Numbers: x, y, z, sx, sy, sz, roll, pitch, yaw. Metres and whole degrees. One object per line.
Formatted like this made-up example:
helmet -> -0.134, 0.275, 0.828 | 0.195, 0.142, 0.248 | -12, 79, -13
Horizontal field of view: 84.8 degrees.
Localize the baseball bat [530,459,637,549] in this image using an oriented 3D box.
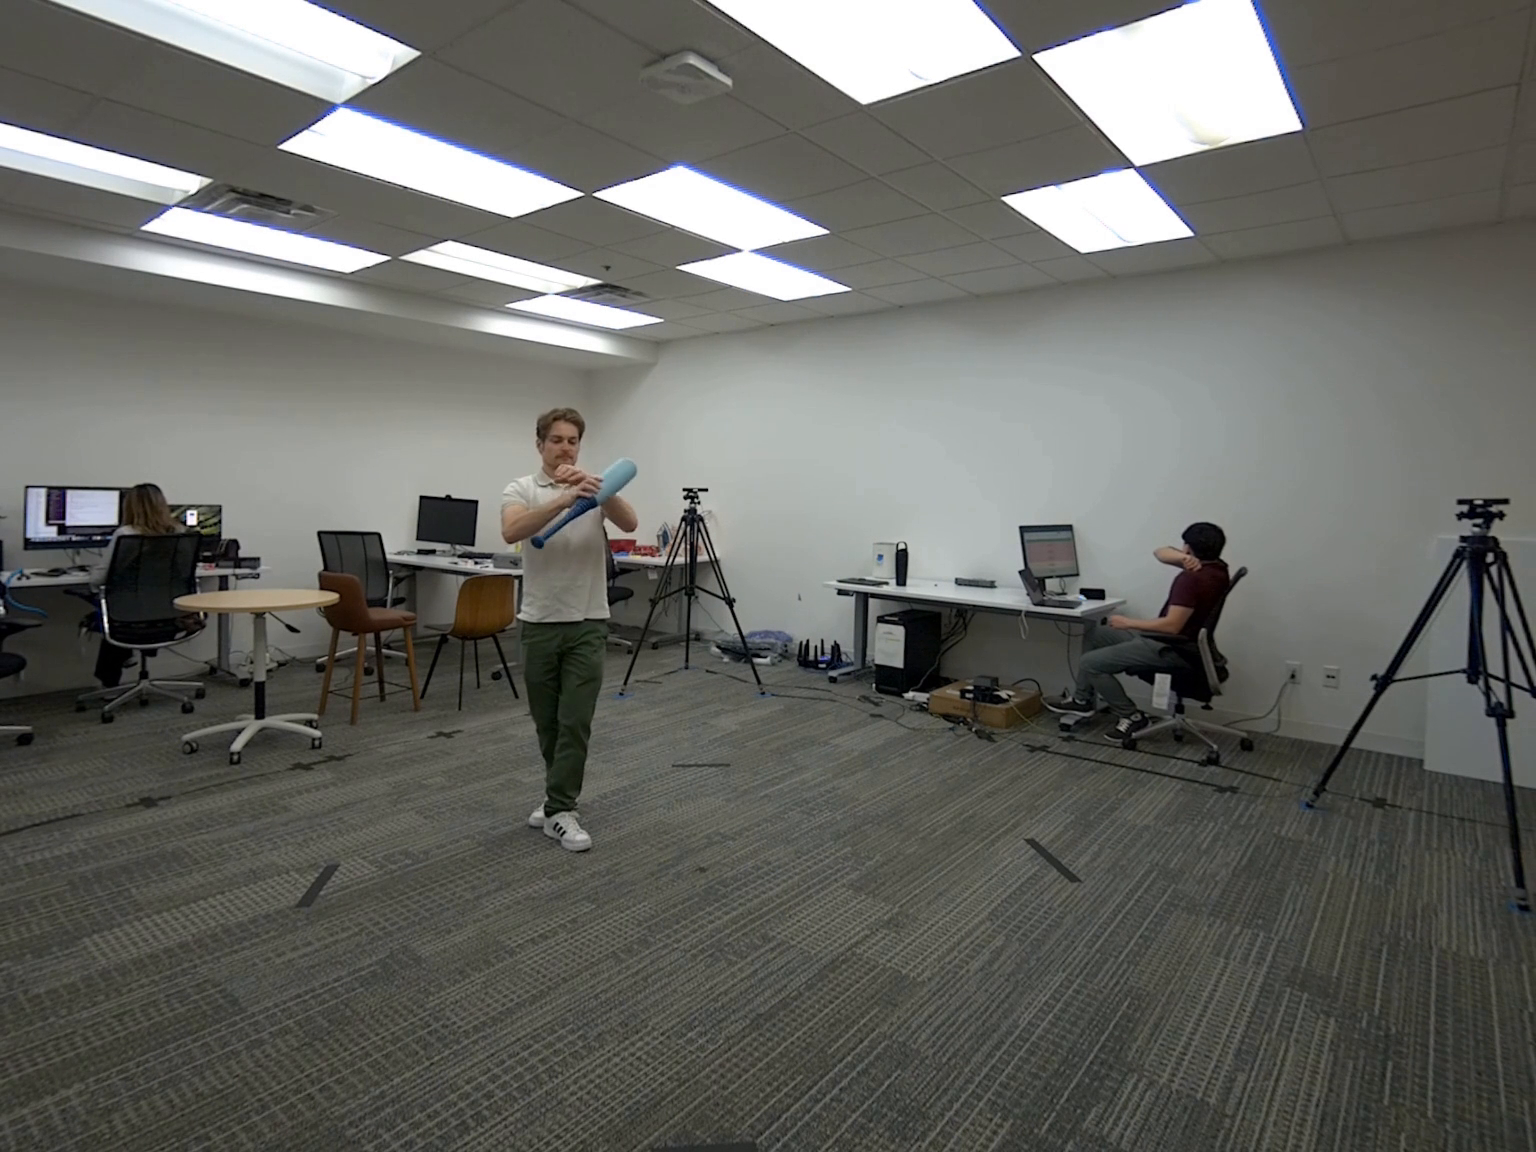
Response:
baseball bat -> -0.650, -0.254, 2.970 | 0.092, 0.086, 0.543 | 3, 36, 32
